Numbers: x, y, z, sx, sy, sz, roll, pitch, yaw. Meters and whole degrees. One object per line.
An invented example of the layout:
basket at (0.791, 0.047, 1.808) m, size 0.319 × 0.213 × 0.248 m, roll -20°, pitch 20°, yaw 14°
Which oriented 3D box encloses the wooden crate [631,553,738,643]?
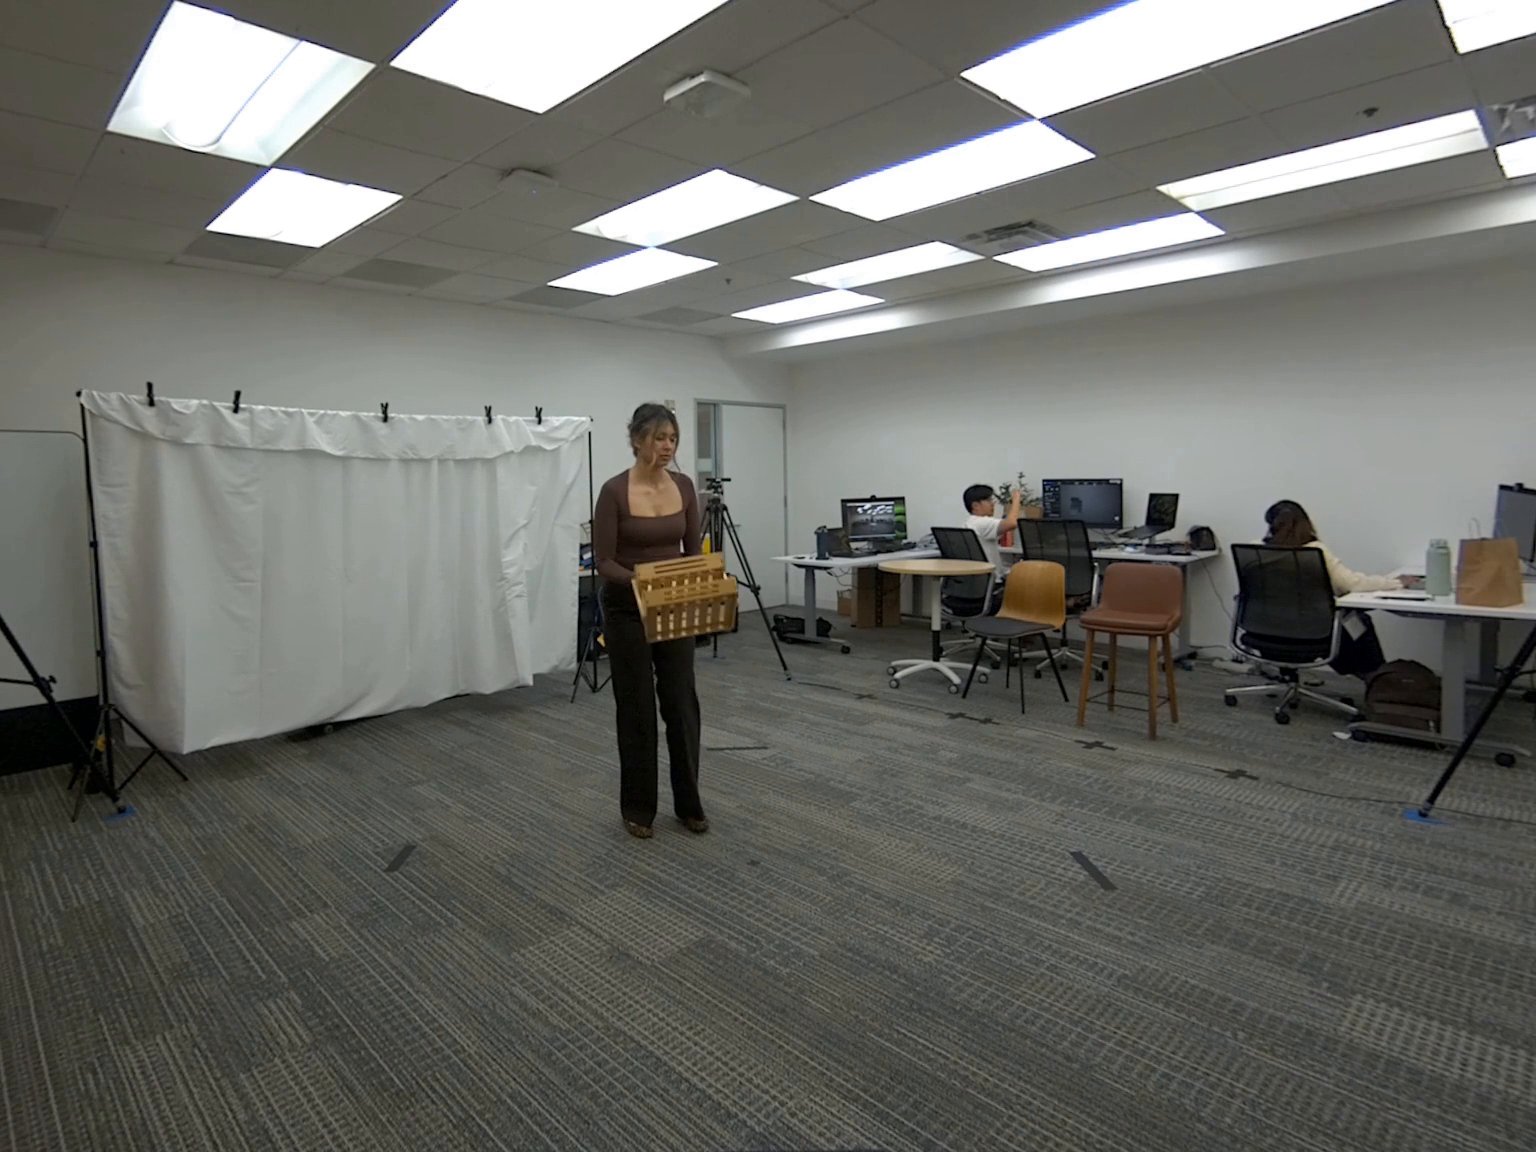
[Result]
wooden crate at (-0.287, 0.046, 2.914) m, size 0.321 × 0.282 × 0.295 m, roll -8°, pitch -35°, yaw -11°
